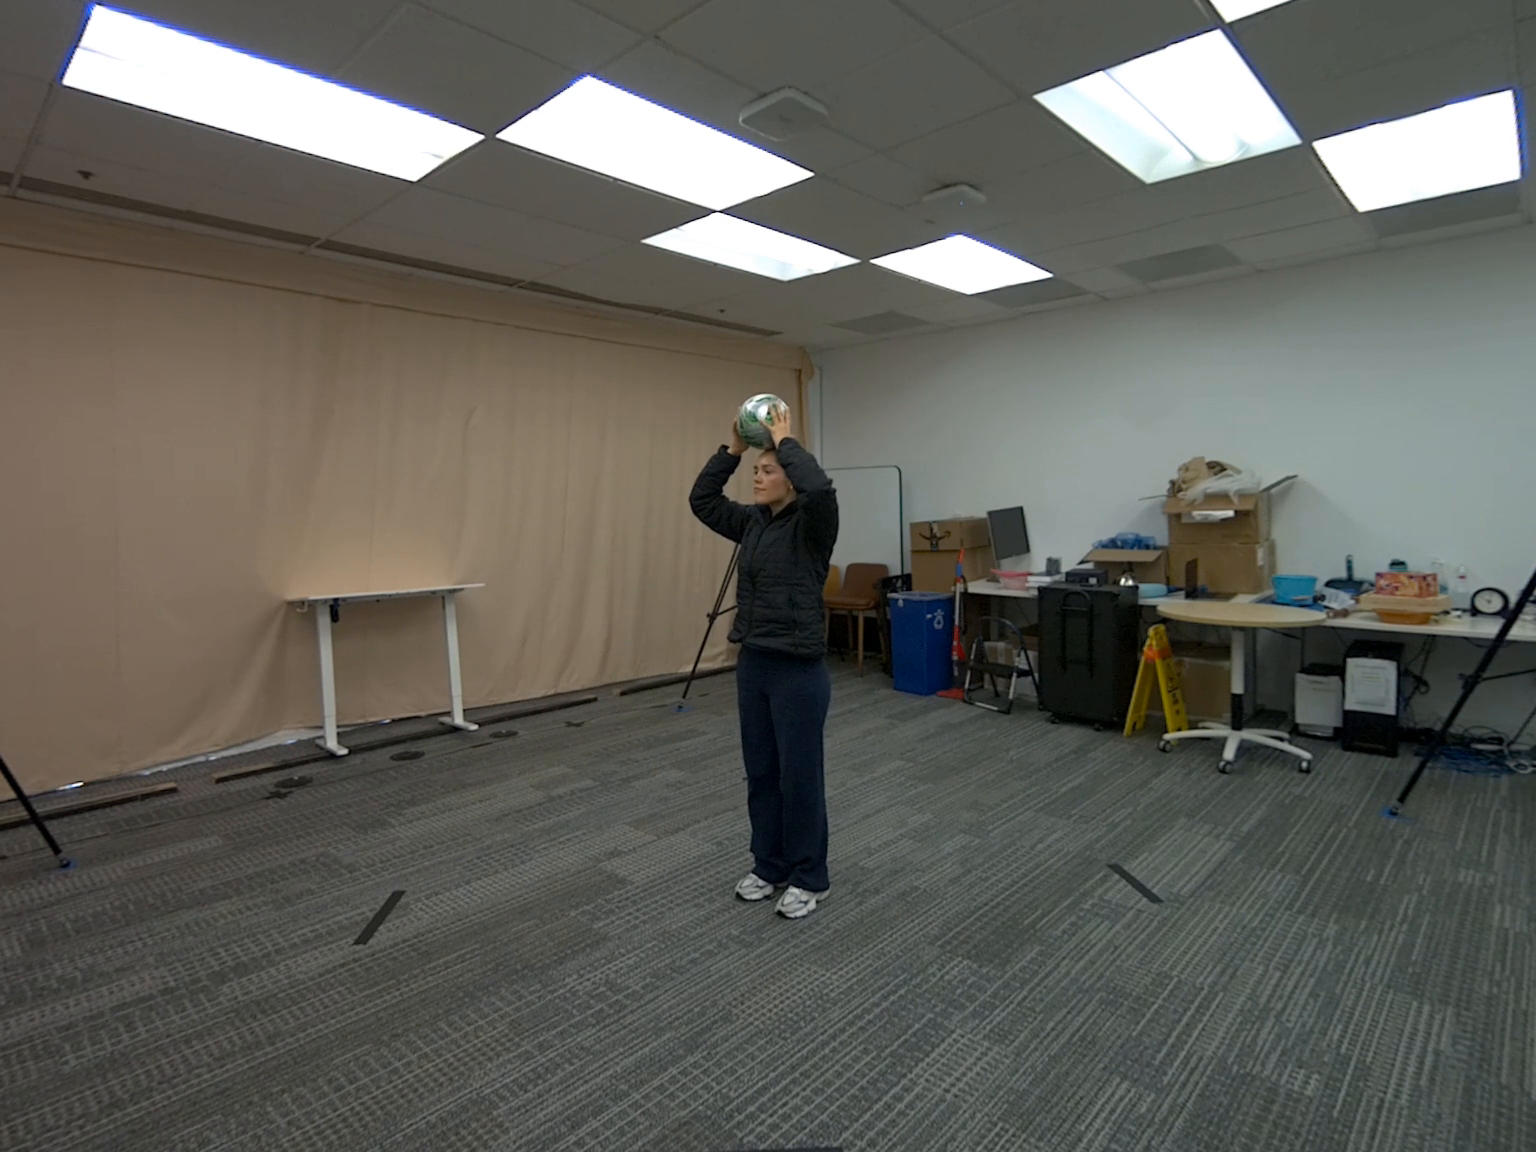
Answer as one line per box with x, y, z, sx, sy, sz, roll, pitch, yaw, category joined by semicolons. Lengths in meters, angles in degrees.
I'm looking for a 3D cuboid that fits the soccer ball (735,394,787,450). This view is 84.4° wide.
-0.006;-0.526;2.873;0.187;0.187;0.188;-1;4;-2;soccer ball
